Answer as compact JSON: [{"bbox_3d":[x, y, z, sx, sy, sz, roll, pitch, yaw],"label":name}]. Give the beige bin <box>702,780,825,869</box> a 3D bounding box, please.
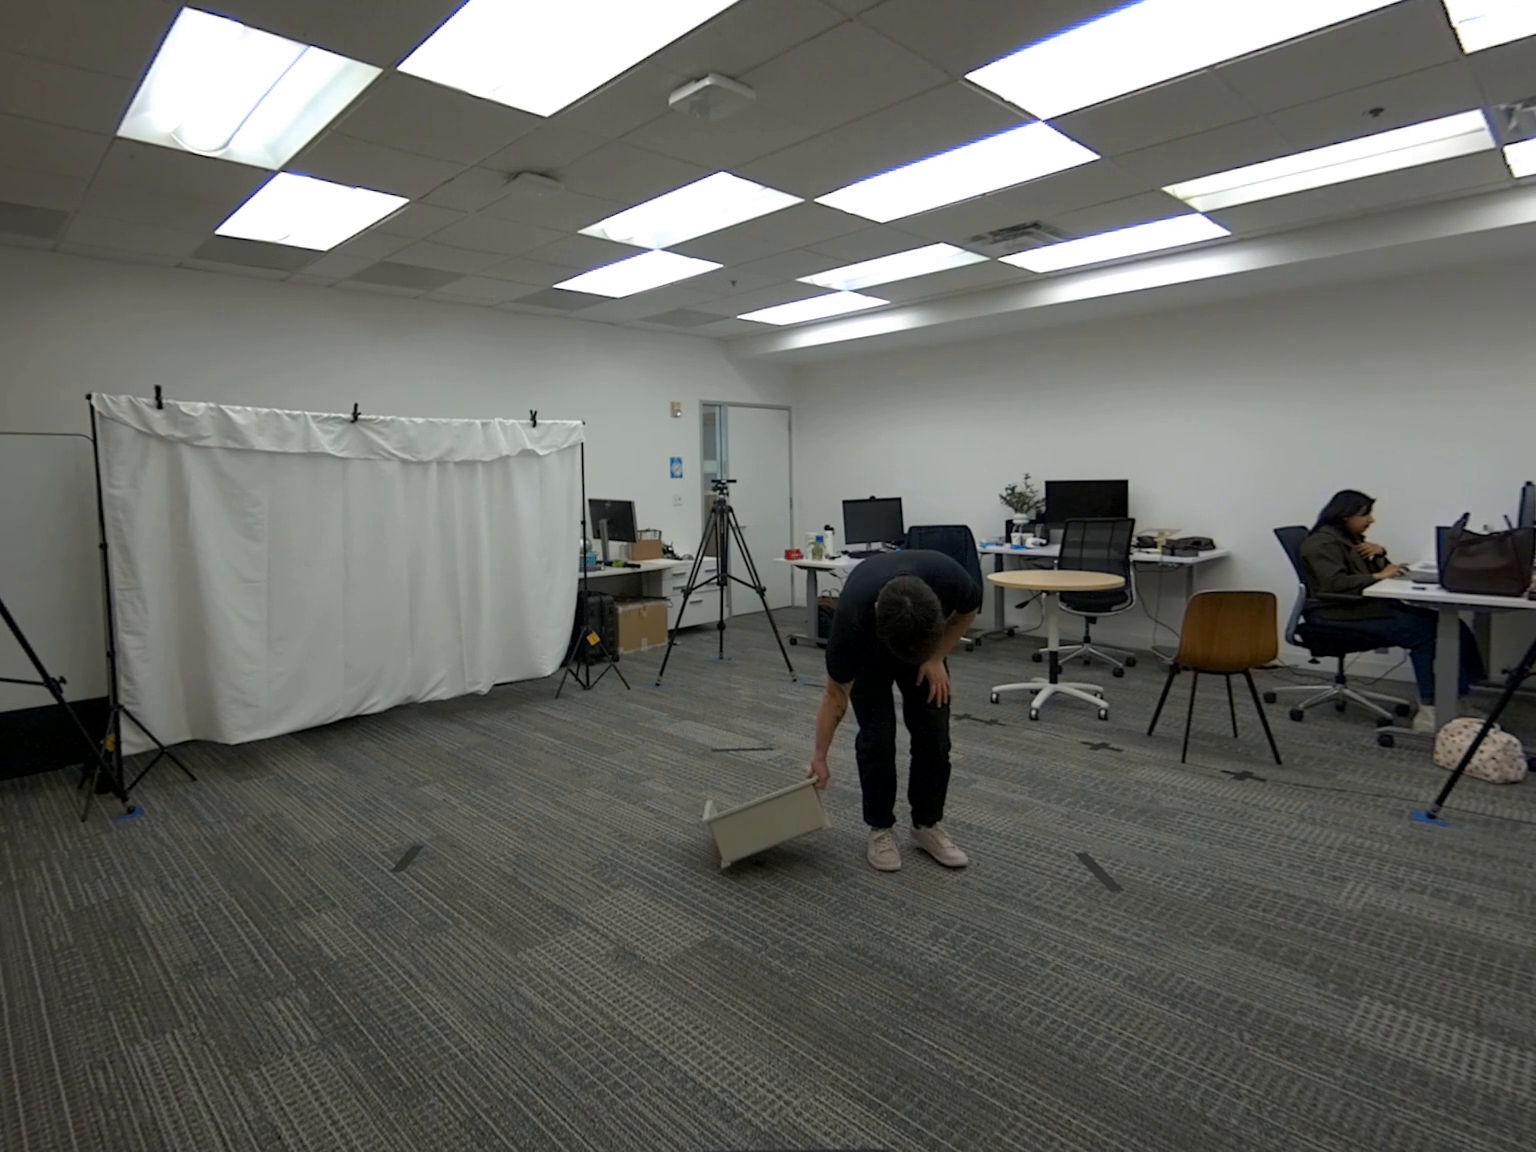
[{"bbox_3d":[-0.005,0.873,3.157,0.422,0.189,0.377,-19,1,-2],"label":"beige bin"}]
